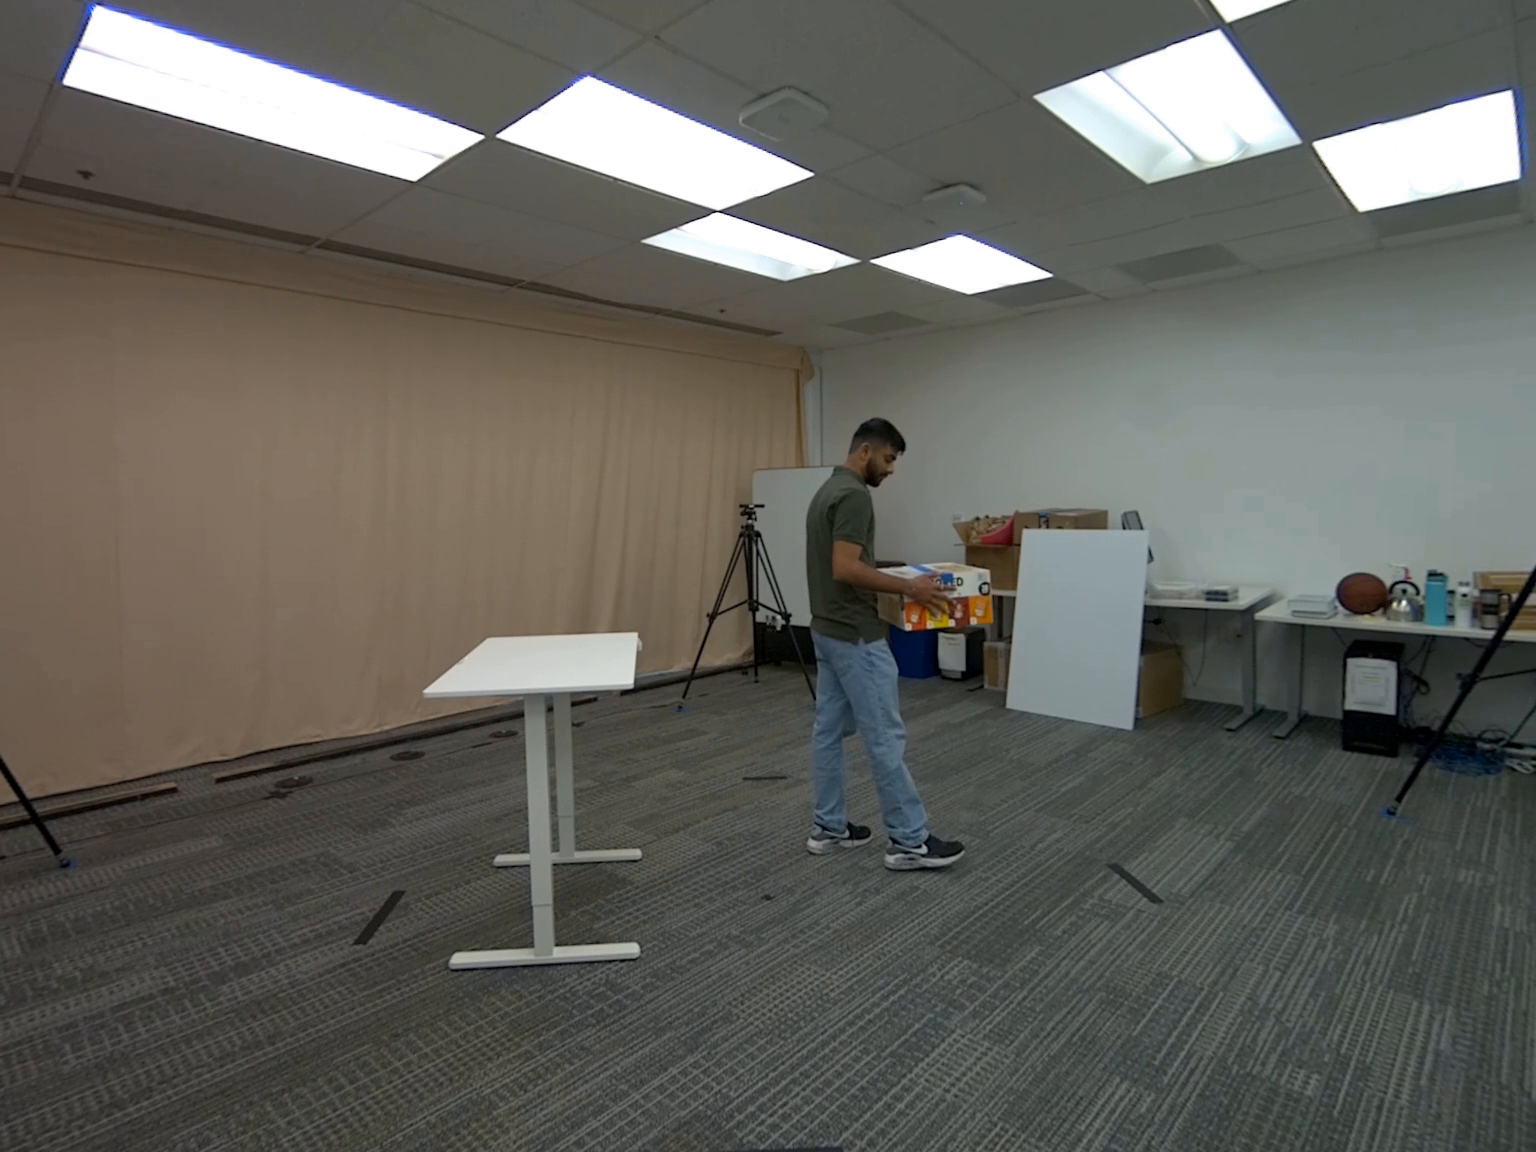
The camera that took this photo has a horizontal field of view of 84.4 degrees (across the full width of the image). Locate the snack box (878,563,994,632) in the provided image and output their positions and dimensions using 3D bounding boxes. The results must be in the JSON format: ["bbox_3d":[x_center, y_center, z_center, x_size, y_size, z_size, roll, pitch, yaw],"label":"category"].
[{"bbox_3d":[0.645,0.076,3.342,0.338,0.205,0.409,-4,4,-7],"label":"snack box"}]
